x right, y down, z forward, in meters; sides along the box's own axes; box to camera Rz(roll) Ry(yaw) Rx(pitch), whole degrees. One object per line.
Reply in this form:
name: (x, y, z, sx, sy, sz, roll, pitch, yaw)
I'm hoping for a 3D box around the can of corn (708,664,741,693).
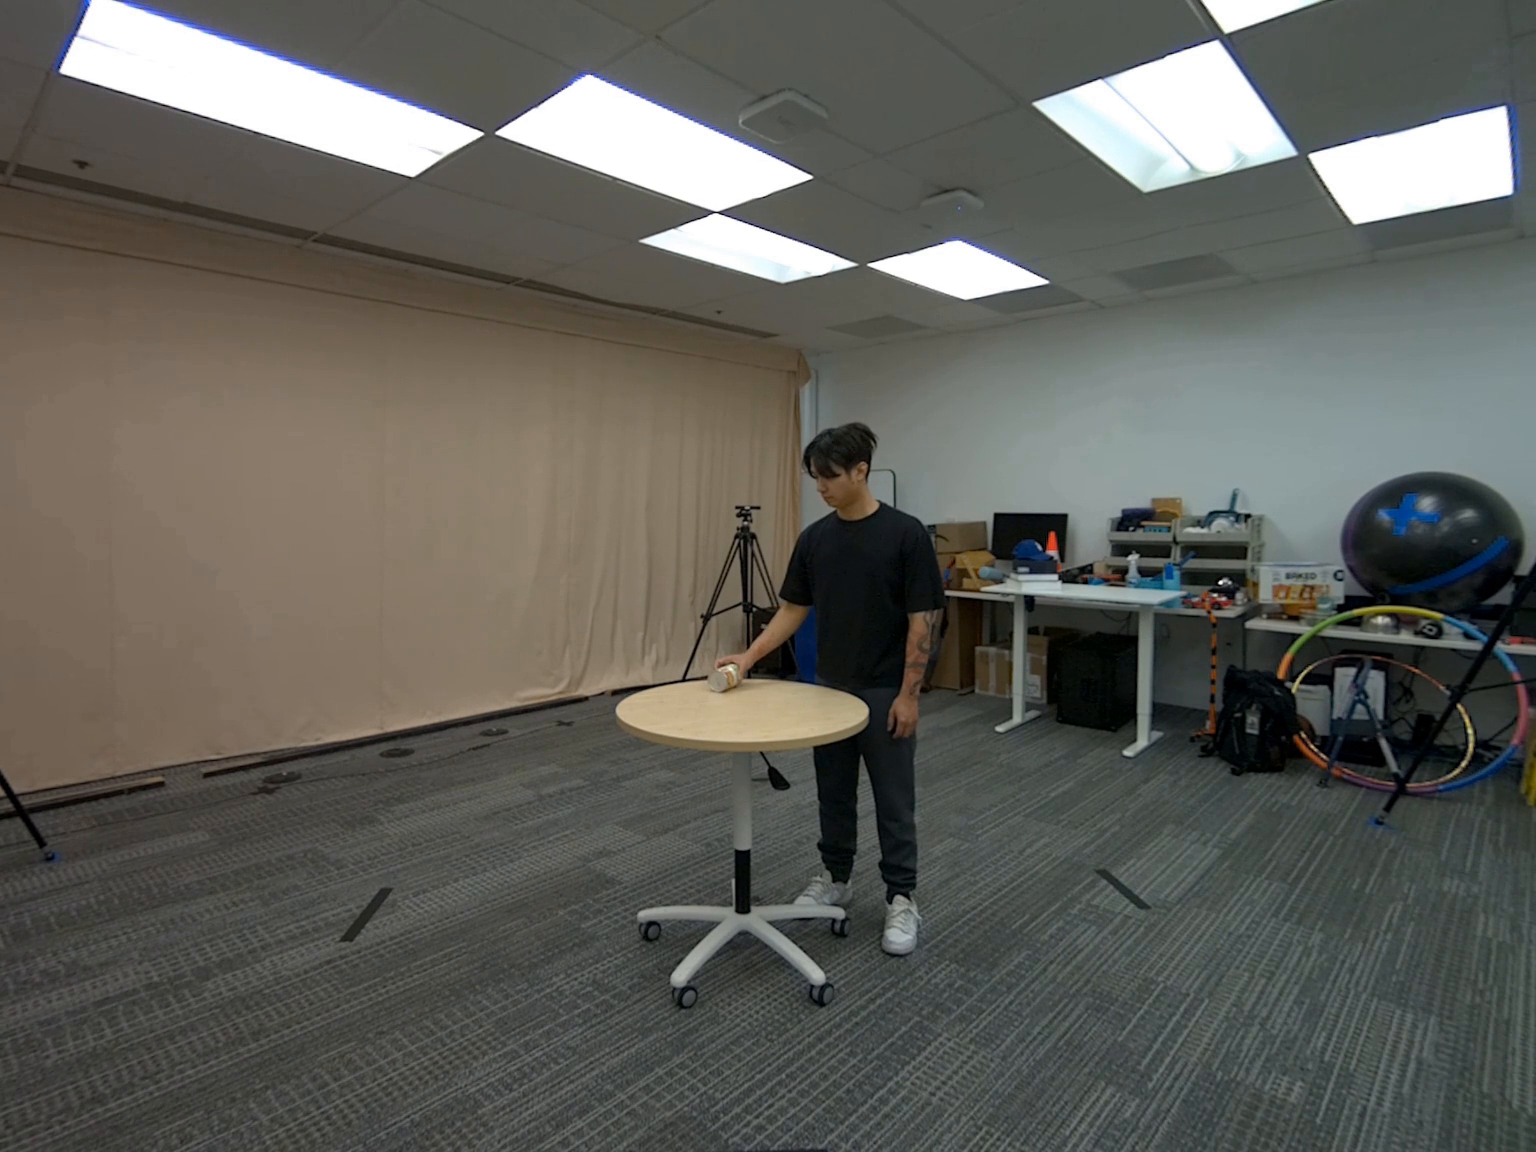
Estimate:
can of corn: (-0.140, 0.337, 2.805, 0.076, 0.074, 0.108, 2, 6, 26)
